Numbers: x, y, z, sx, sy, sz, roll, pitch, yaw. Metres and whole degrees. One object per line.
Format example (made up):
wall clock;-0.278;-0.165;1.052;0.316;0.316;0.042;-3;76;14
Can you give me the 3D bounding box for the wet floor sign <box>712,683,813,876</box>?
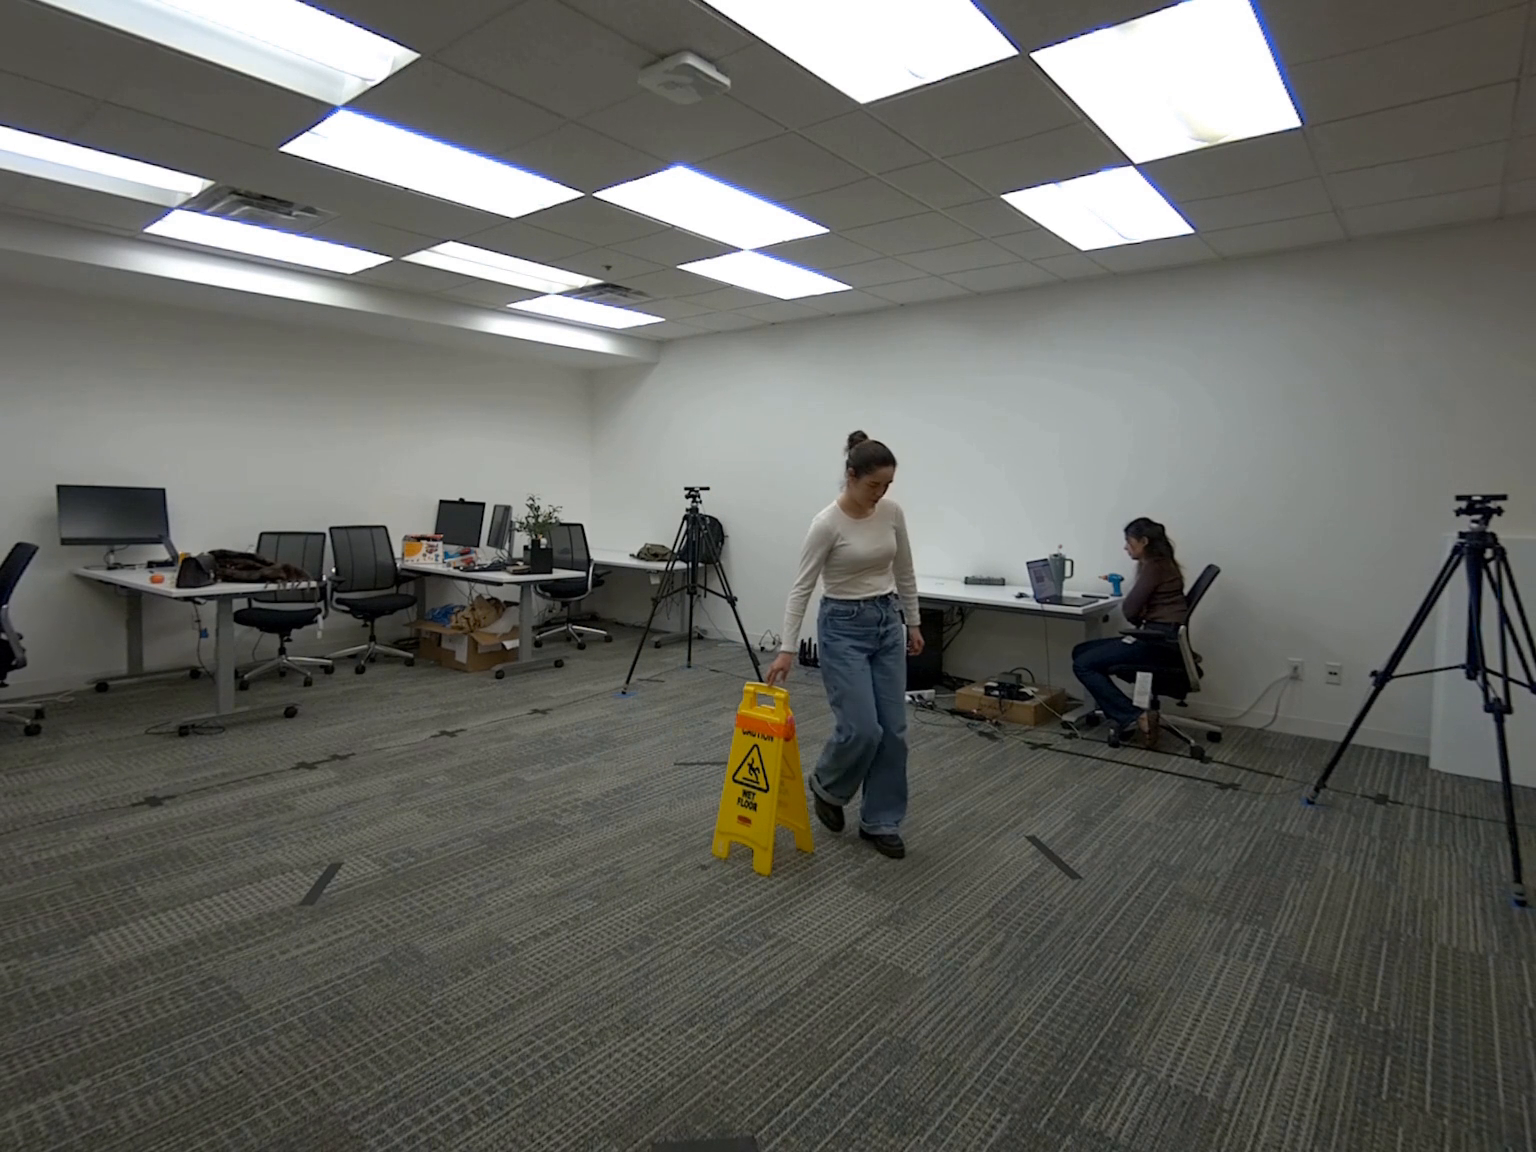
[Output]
wet floor sign;-0.020;0.731;3.237;0.292;0.644;0.281;4;3;39
